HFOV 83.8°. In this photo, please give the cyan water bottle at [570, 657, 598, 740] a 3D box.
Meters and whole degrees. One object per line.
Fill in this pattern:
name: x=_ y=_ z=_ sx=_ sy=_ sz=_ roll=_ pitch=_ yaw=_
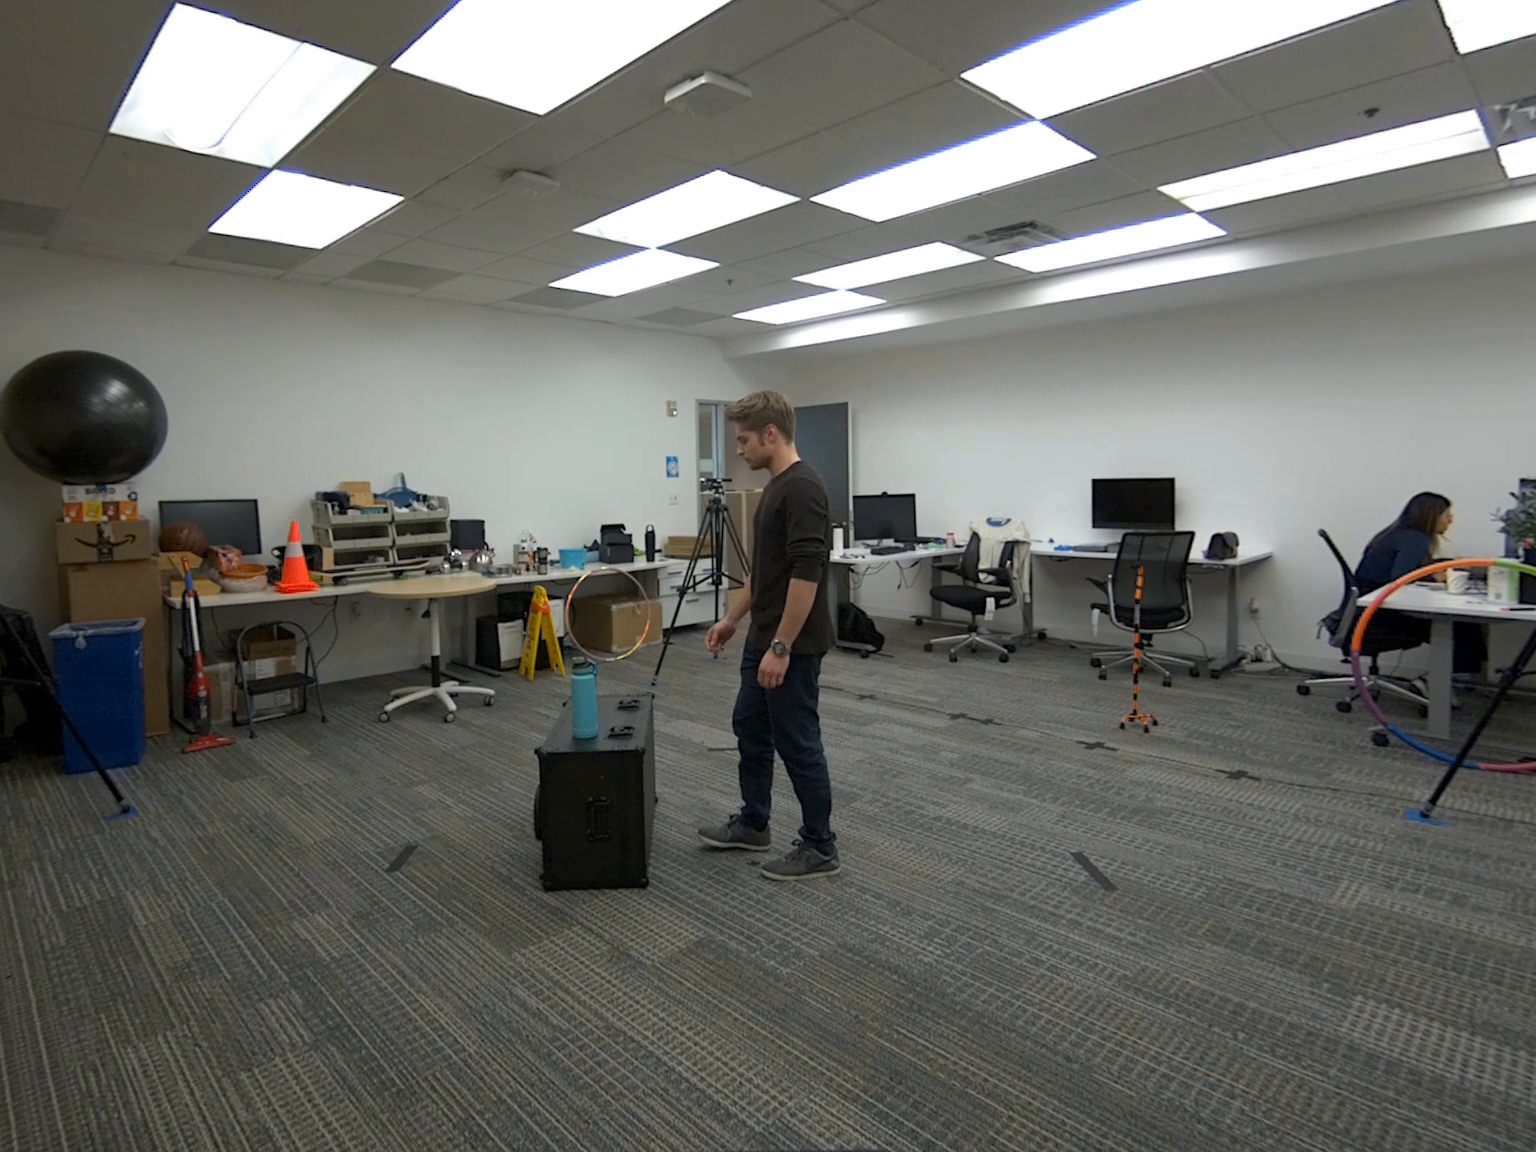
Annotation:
cyan water bottle: x=-0.657 y=0.435 z=3.087 sx=0.092 sy=0.283 sz=0.092 roll=1 pitch=3 yaw=-2
